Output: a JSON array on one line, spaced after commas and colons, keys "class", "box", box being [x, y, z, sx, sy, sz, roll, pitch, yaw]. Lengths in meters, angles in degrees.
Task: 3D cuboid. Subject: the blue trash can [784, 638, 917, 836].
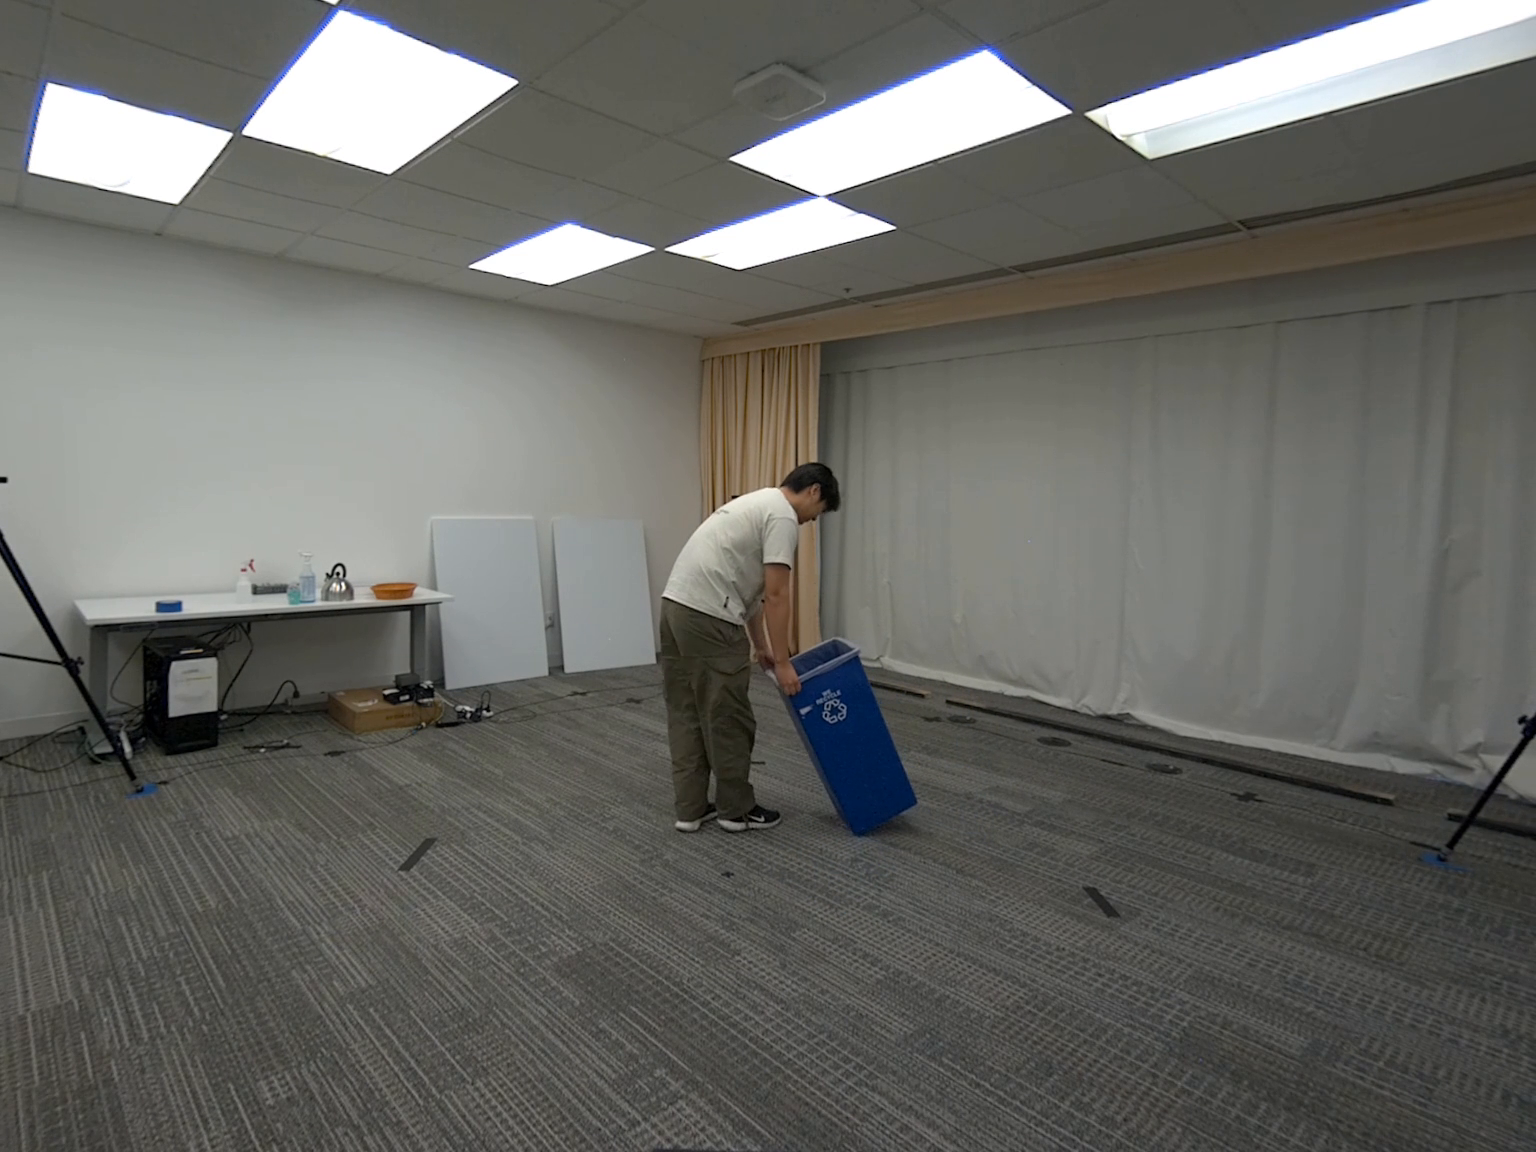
[{"class": "blue trash can", "box": [0.320, 0.675, 3.609, 0.373, 0.709, 0.381, -25, 6, -8]}]
